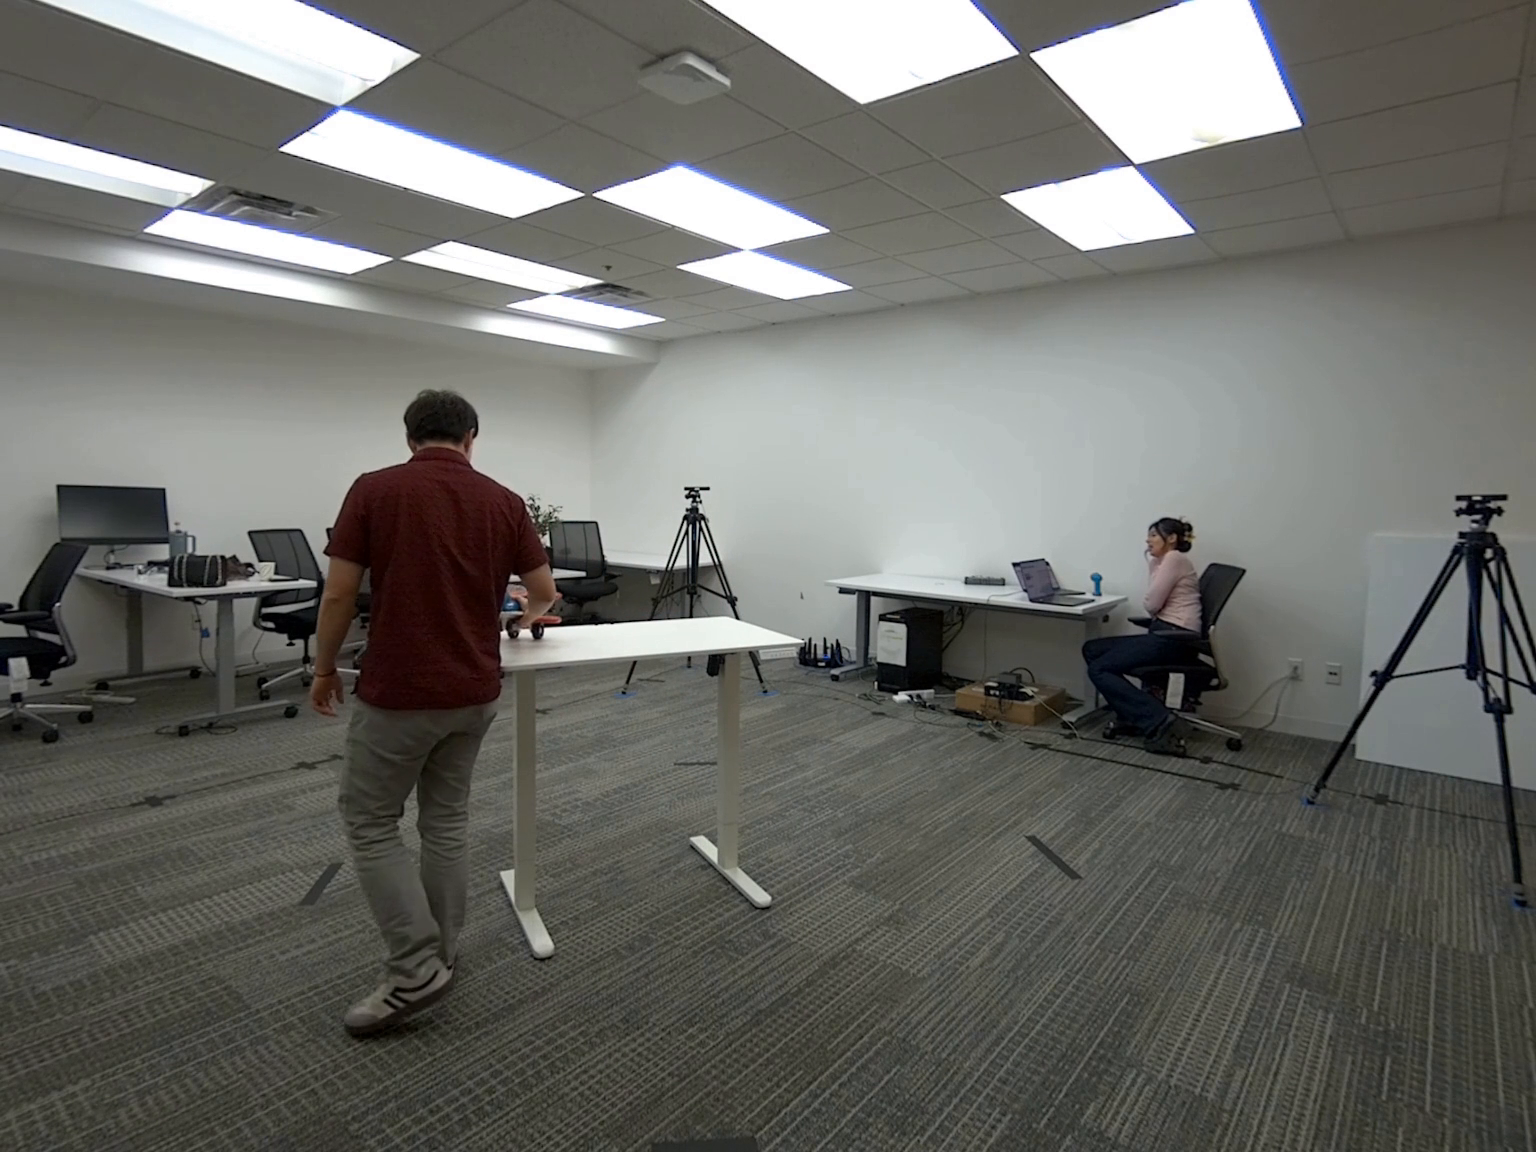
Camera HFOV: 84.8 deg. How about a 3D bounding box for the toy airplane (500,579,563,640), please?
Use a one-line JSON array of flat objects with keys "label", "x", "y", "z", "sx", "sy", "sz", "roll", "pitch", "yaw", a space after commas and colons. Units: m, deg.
[{"label": "toy airplane", "x": -0.811, "y": 0.119, "z": 2.766, "sx": 0.245, "sy": 0.158, "sz": 0.262, "roll": 8, "pitch": -13, "yaw": -23}]
